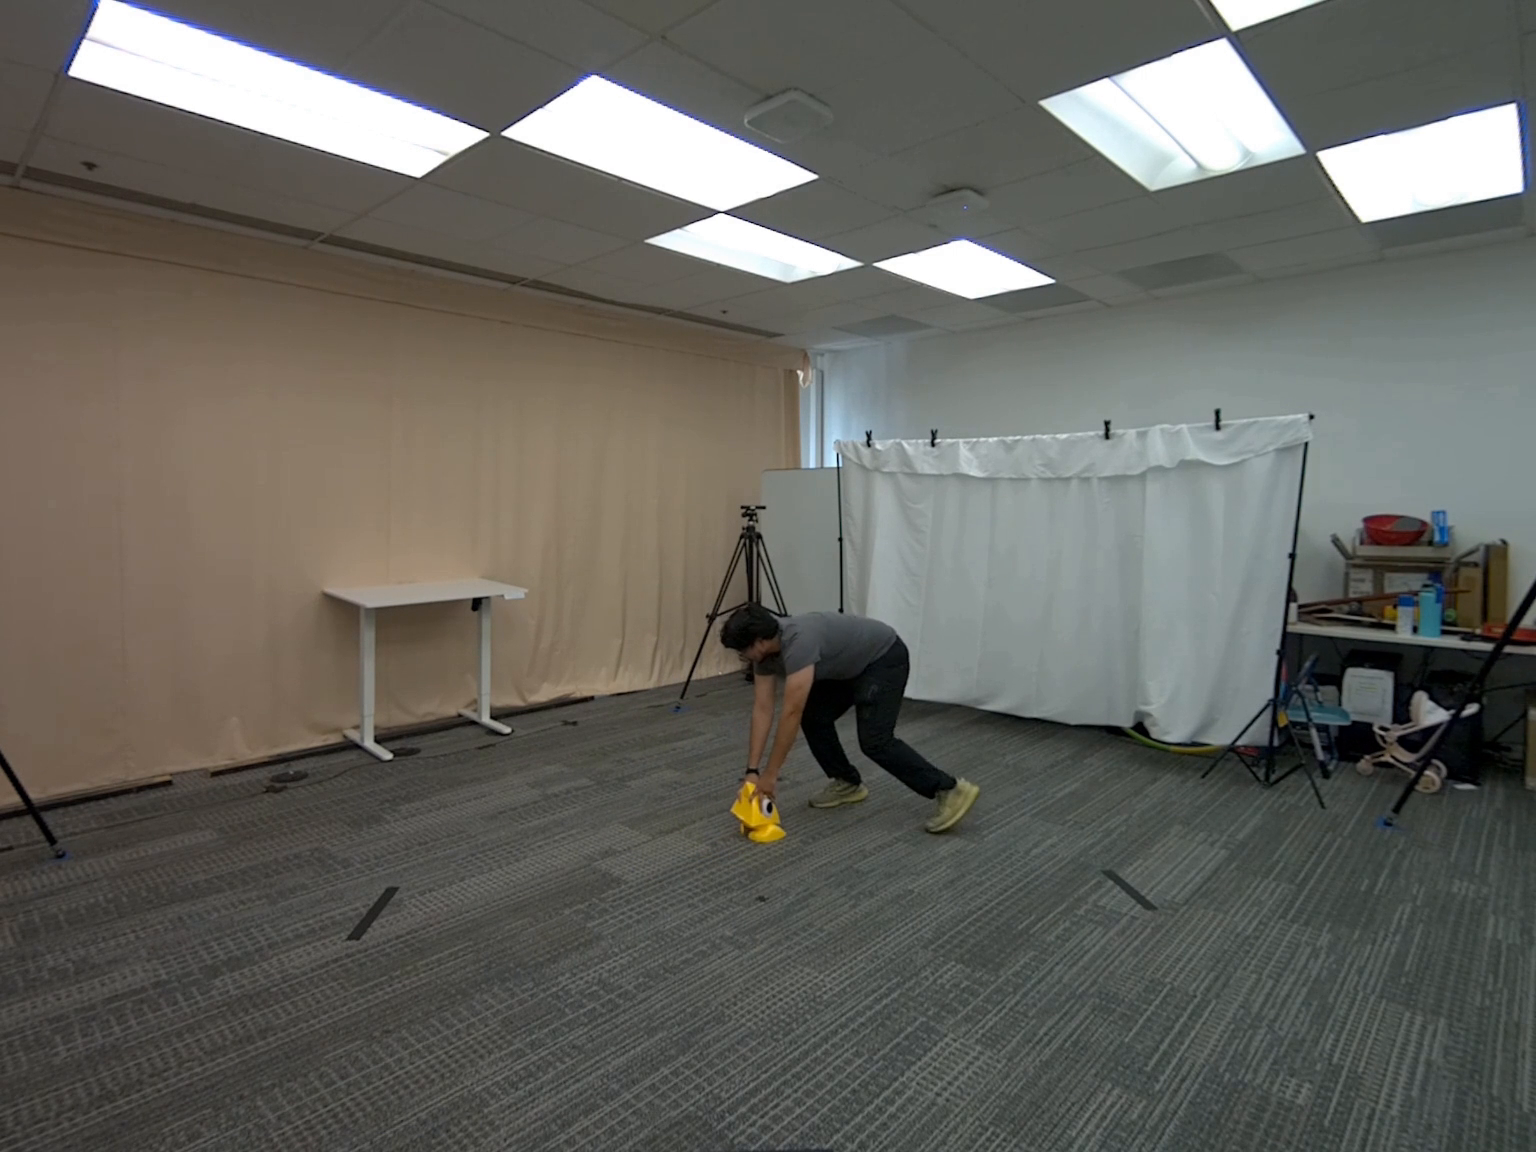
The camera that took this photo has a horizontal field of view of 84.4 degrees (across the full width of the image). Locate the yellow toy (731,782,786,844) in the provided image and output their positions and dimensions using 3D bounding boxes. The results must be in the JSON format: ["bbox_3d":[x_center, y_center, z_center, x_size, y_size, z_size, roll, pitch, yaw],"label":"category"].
[{"bbox_3d":[-0.034,0.982,3.584,0.188,0.230,0.210,-2,3,-26],"label":"yellow toy"}]
